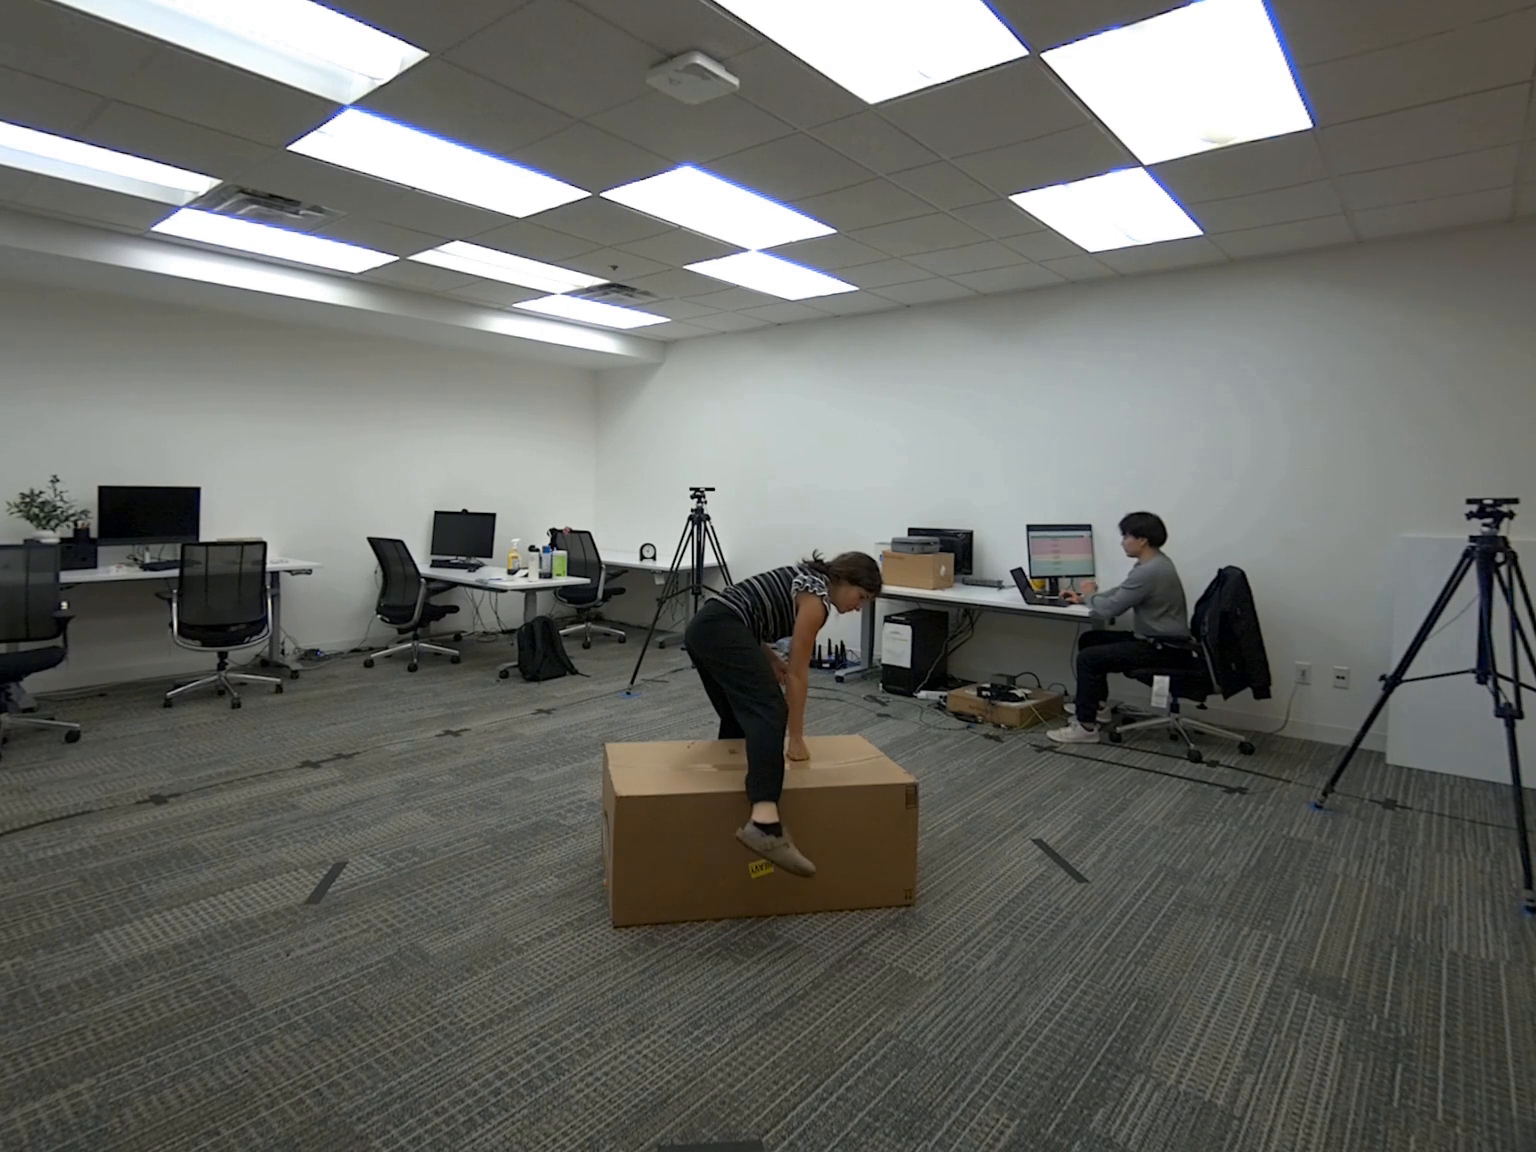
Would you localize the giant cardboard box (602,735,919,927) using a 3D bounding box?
[{"bbox_3d":[-0.070,0.871,3.039,1.013,0.425,0.587,0,4,-12],"label":"giant cardboard box"}]
